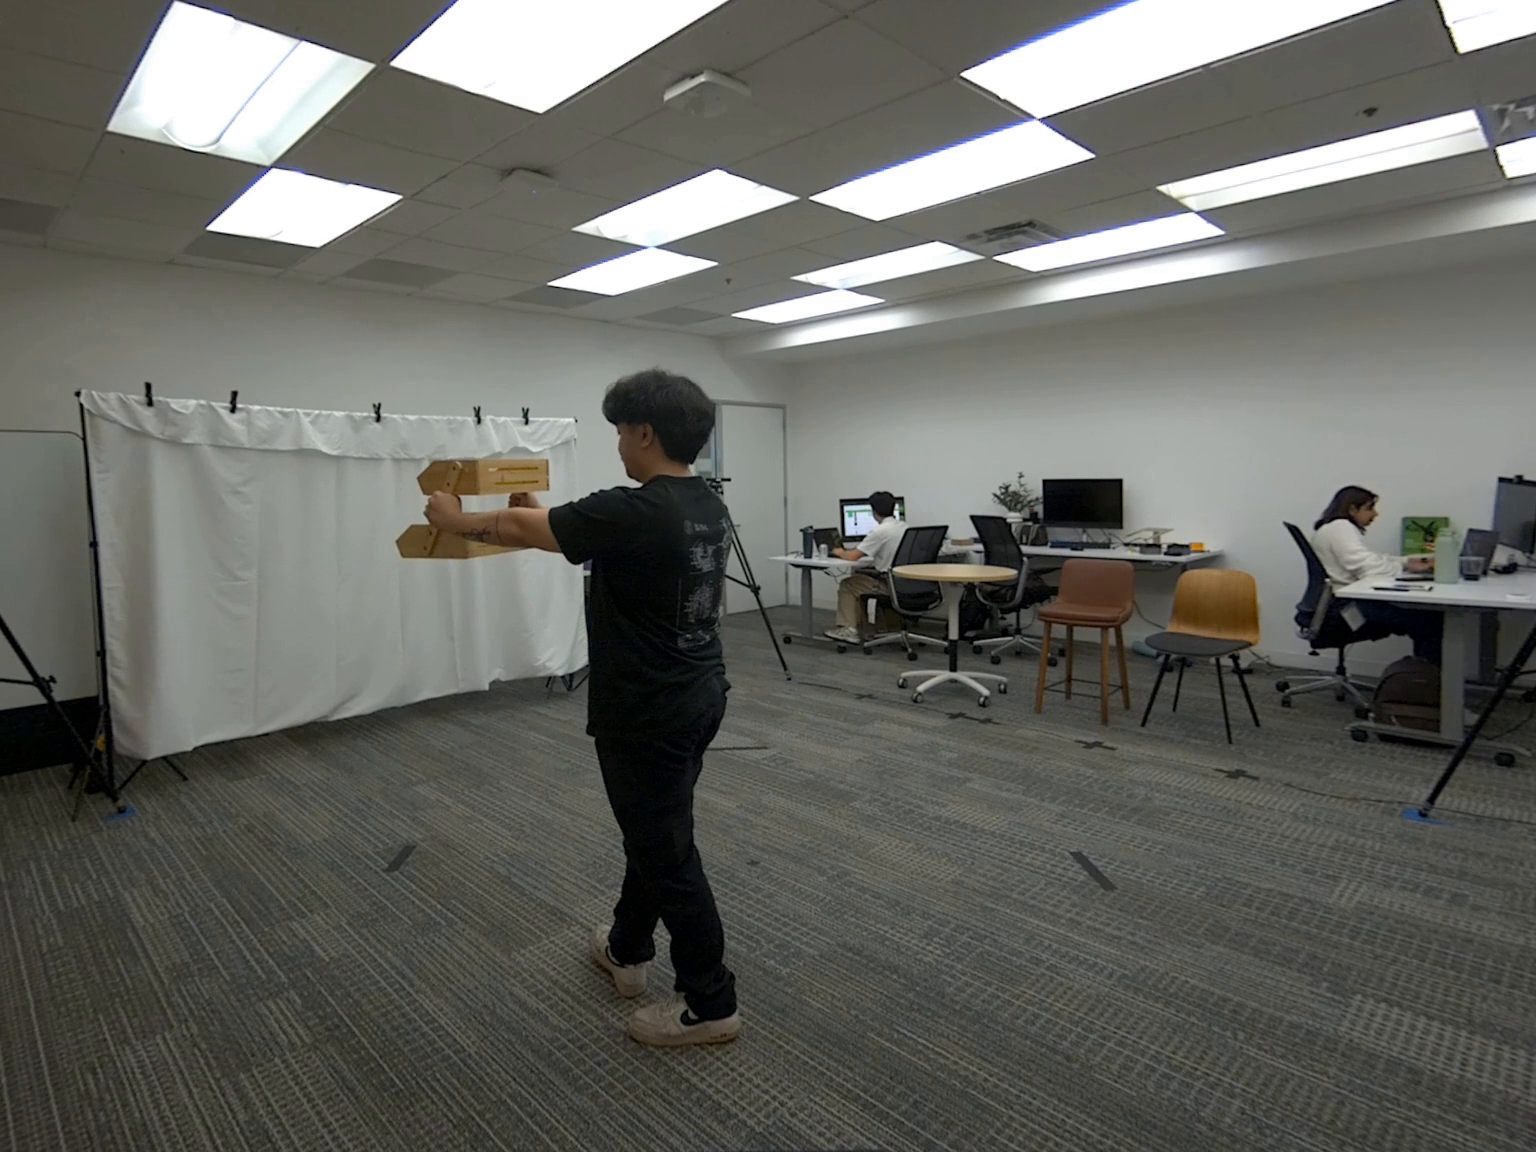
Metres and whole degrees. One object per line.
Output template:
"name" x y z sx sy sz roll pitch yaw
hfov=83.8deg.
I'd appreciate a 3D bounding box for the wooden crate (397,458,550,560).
"wooden crate" -0.835 -0.200 2.393 0.308 0.272 0.320 2 8 22
